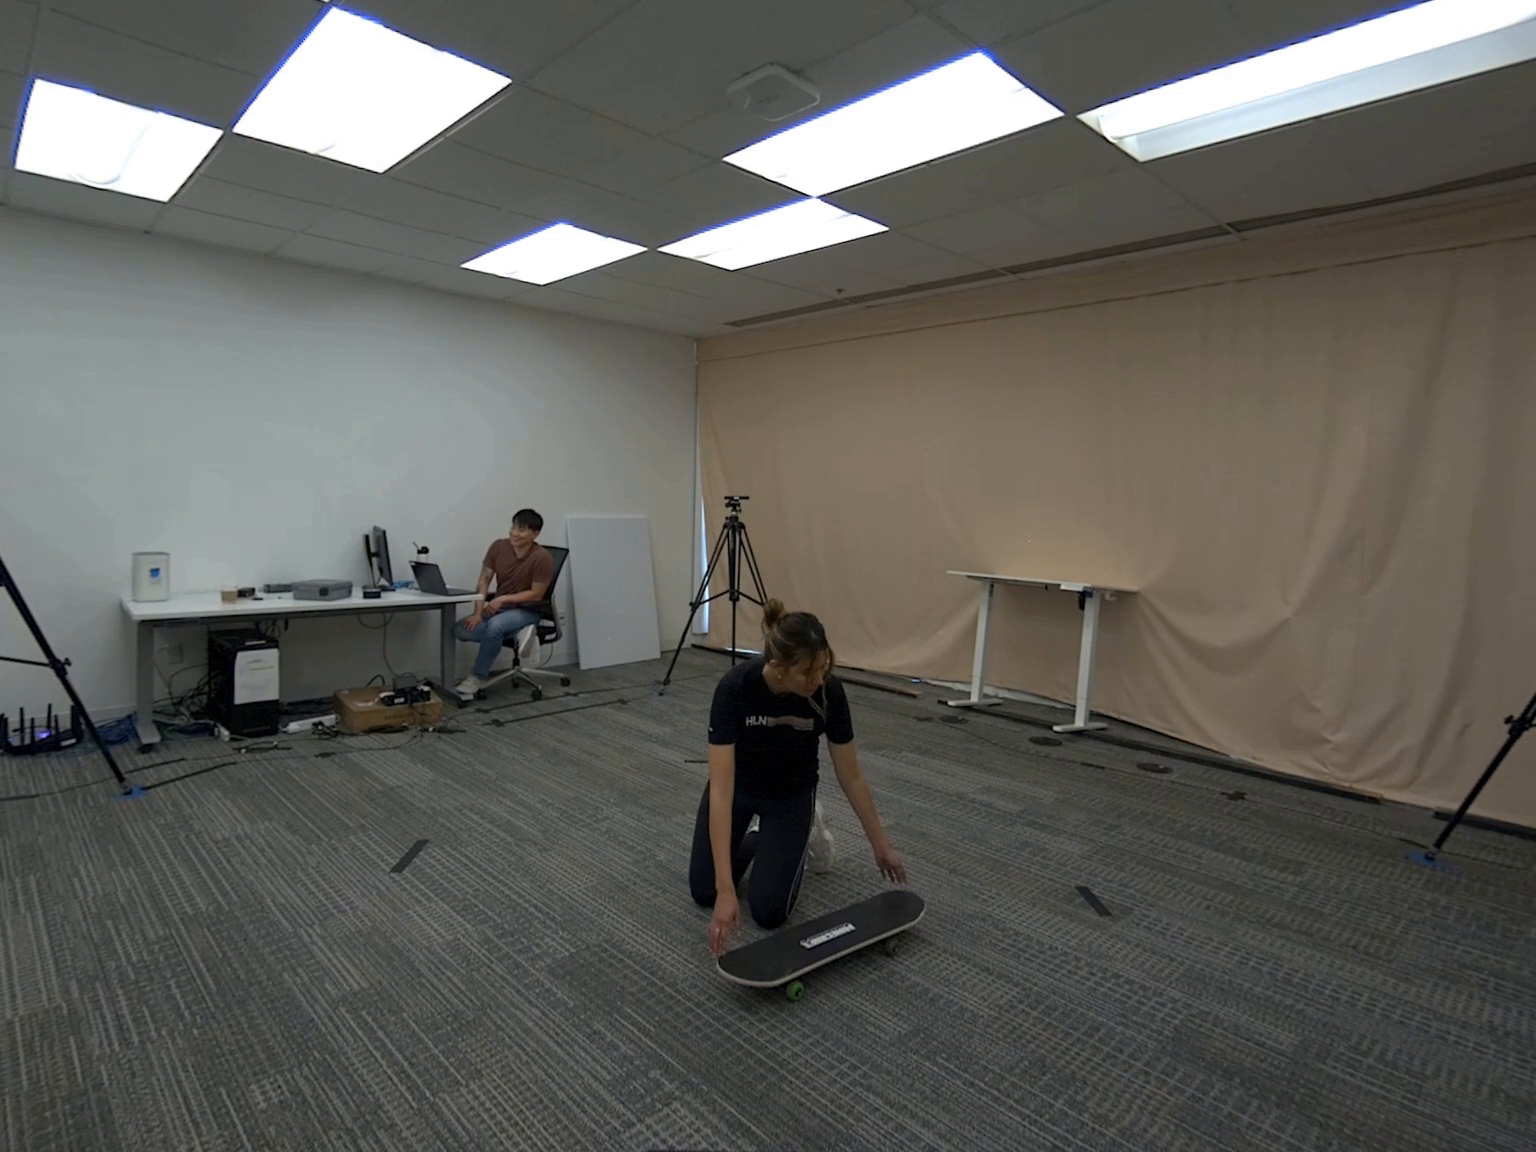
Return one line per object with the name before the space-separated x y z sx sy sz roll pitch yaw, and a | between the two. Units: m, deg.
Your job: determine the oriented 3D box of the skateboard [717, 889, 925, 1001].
skateboard | 0.172 1.109 2.521 0.768 0.110 0.198 -3 7 -39
